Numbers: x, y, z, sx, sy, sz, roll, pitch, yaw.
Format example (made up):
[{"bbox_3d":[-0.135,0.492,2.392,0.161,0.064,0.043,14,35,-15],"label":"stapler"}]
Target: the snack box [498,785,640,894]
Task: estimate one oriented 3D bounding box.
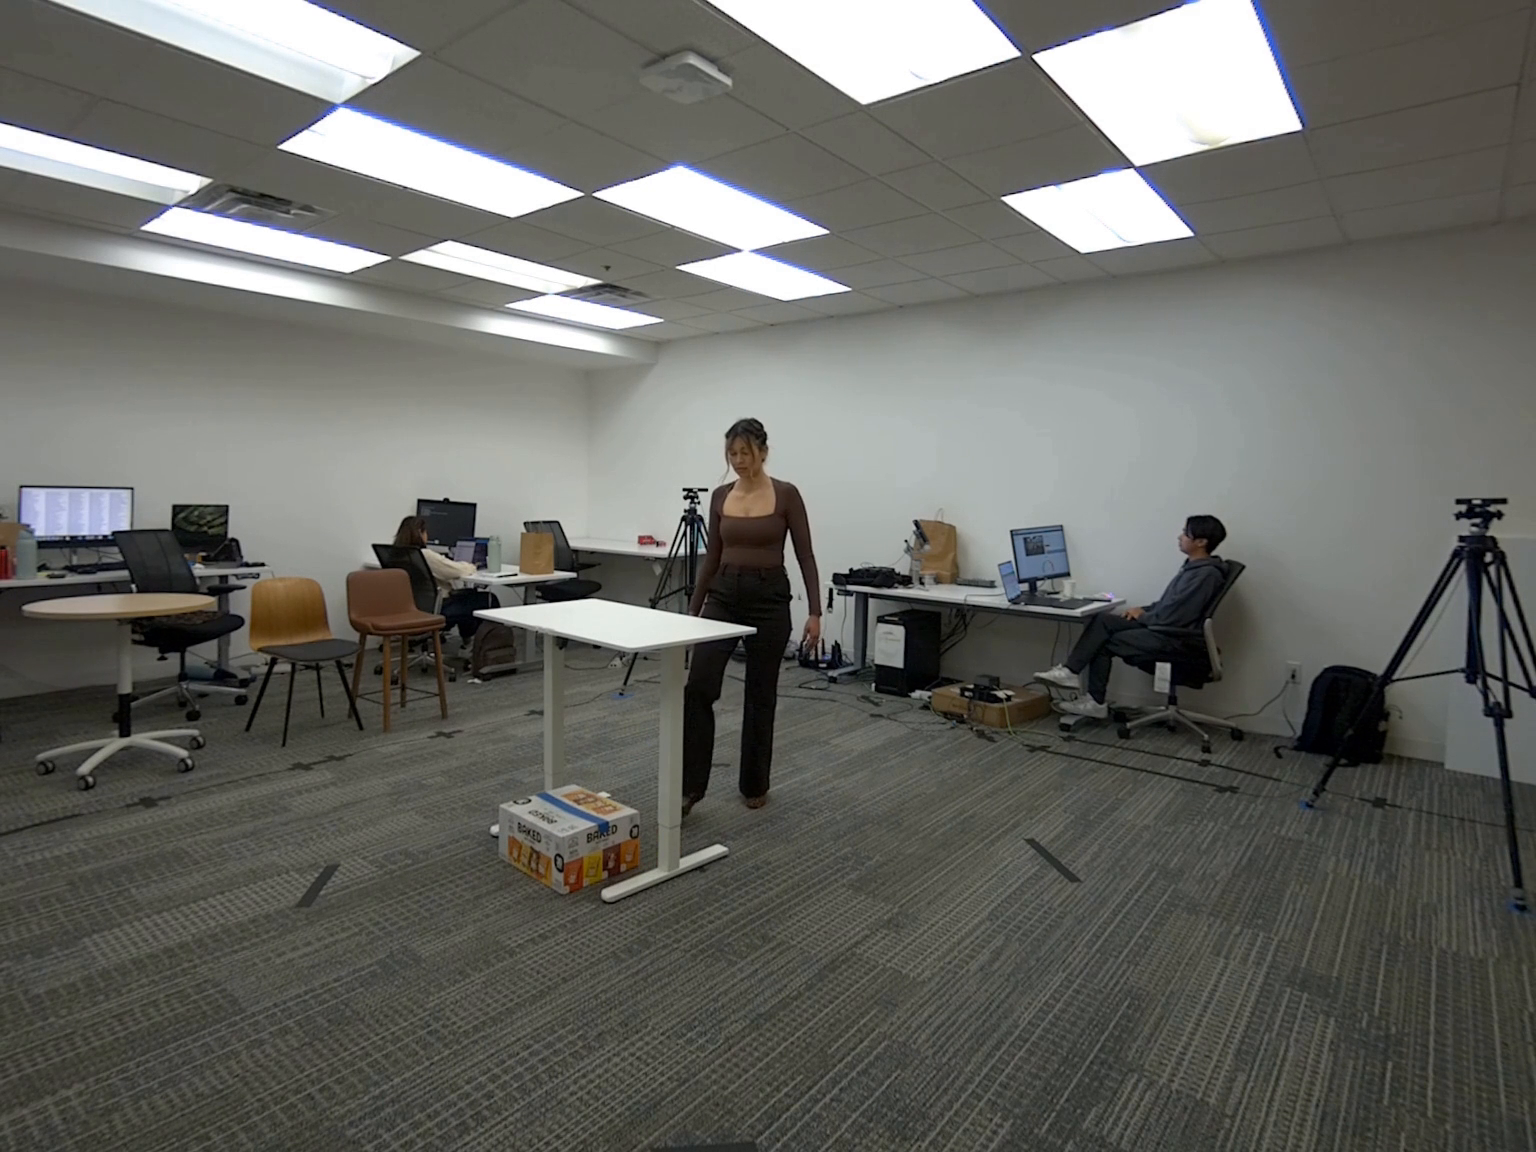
[{"bbox_3d":[-0.747,0.957,3.135,0.419,0.205,0.330,6,6,42],"label":"snack box"}]
